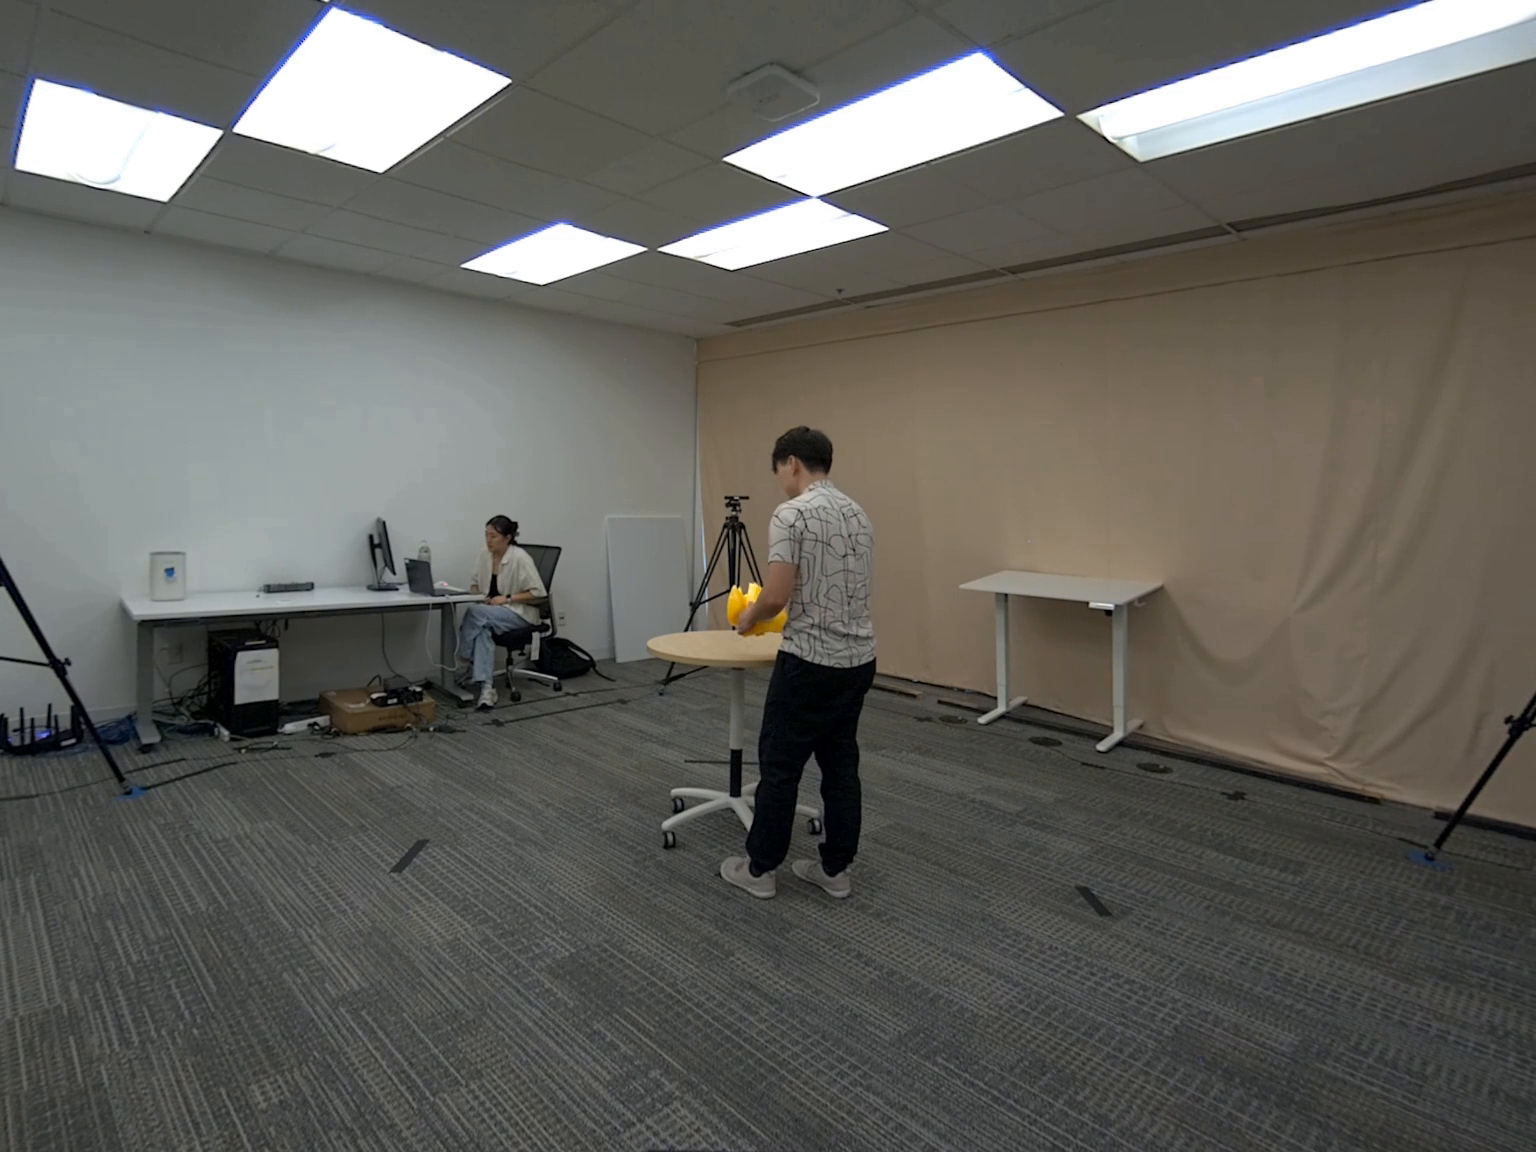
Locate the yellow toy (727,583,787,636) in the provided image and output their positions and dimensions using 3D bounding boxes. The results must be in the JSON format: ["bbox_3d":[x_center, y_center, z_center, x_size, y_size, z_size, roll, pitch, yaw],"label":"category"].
[{"bbox_3d":[-0.009,0.131,3.145,0.236,0.192,0.201,7,9,32],"label":"yellow toy"}]
